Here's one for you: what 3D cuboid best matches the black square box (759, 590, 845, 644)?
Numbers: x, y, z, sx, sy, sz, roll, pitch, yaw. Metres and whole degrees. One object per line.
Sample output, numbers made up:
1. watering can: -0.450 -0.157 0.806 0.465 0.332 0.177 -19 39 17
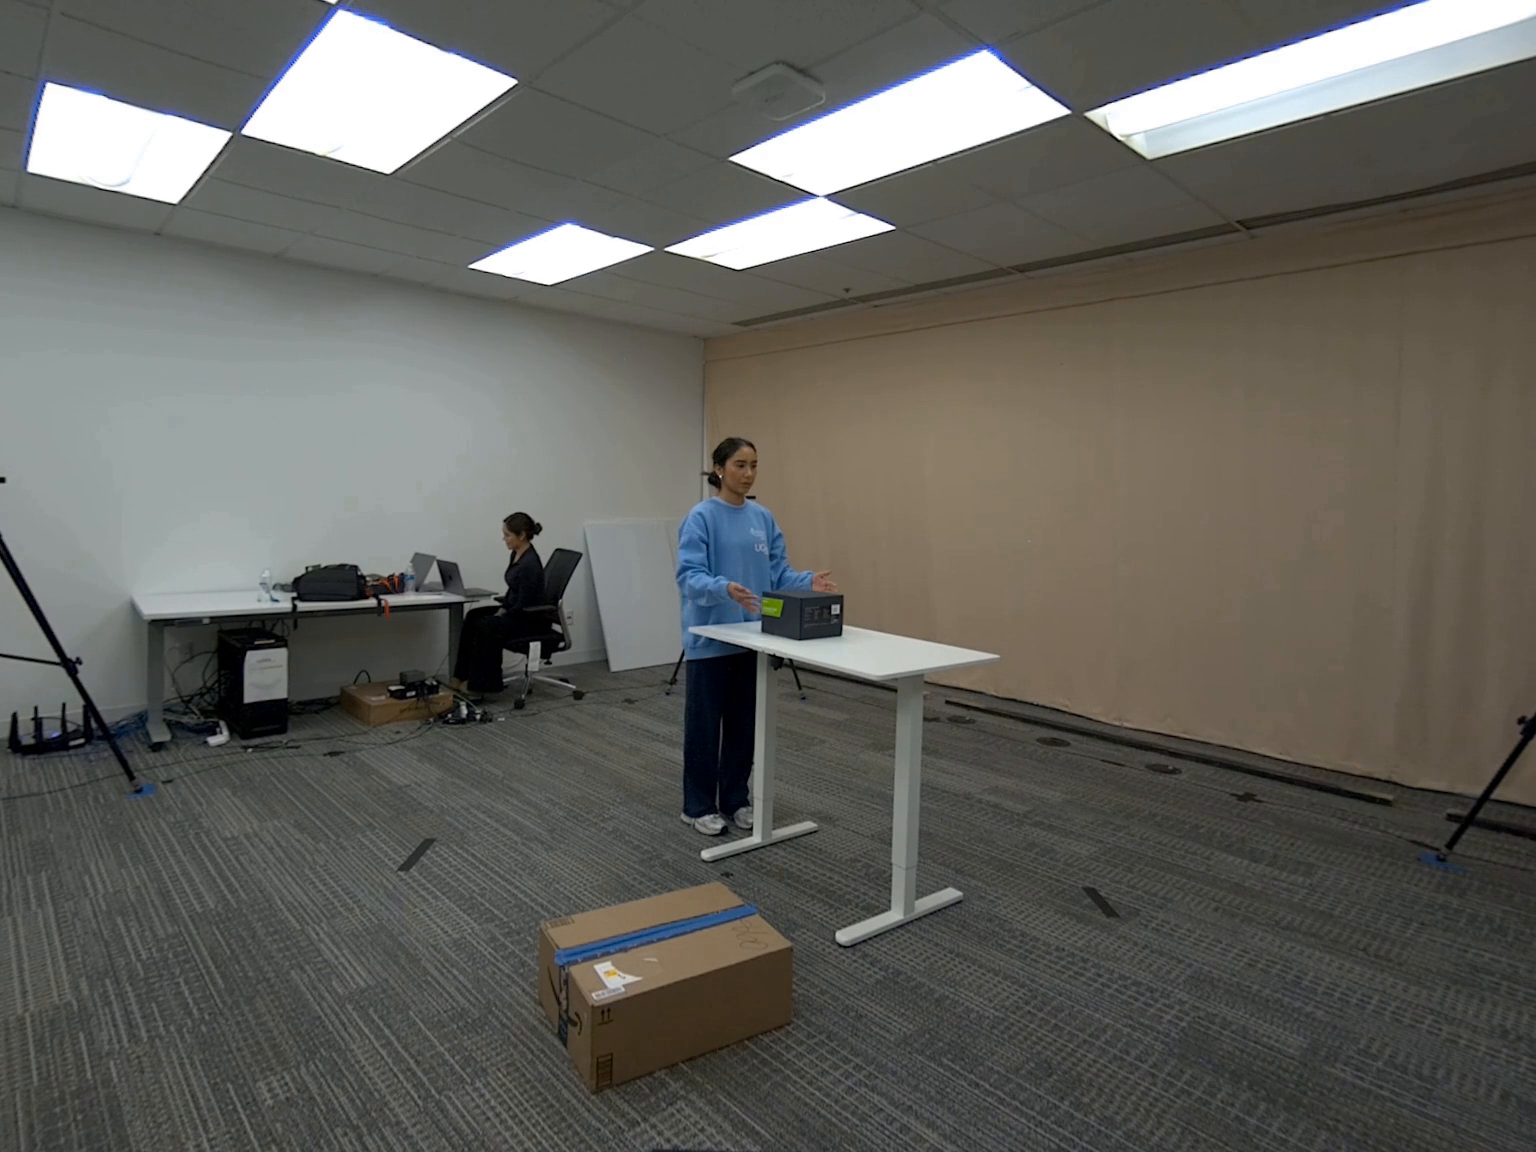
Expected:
1. black square box: 0.123 0.144 3.167 0.212 0.155 0.234 -3 7 -38
